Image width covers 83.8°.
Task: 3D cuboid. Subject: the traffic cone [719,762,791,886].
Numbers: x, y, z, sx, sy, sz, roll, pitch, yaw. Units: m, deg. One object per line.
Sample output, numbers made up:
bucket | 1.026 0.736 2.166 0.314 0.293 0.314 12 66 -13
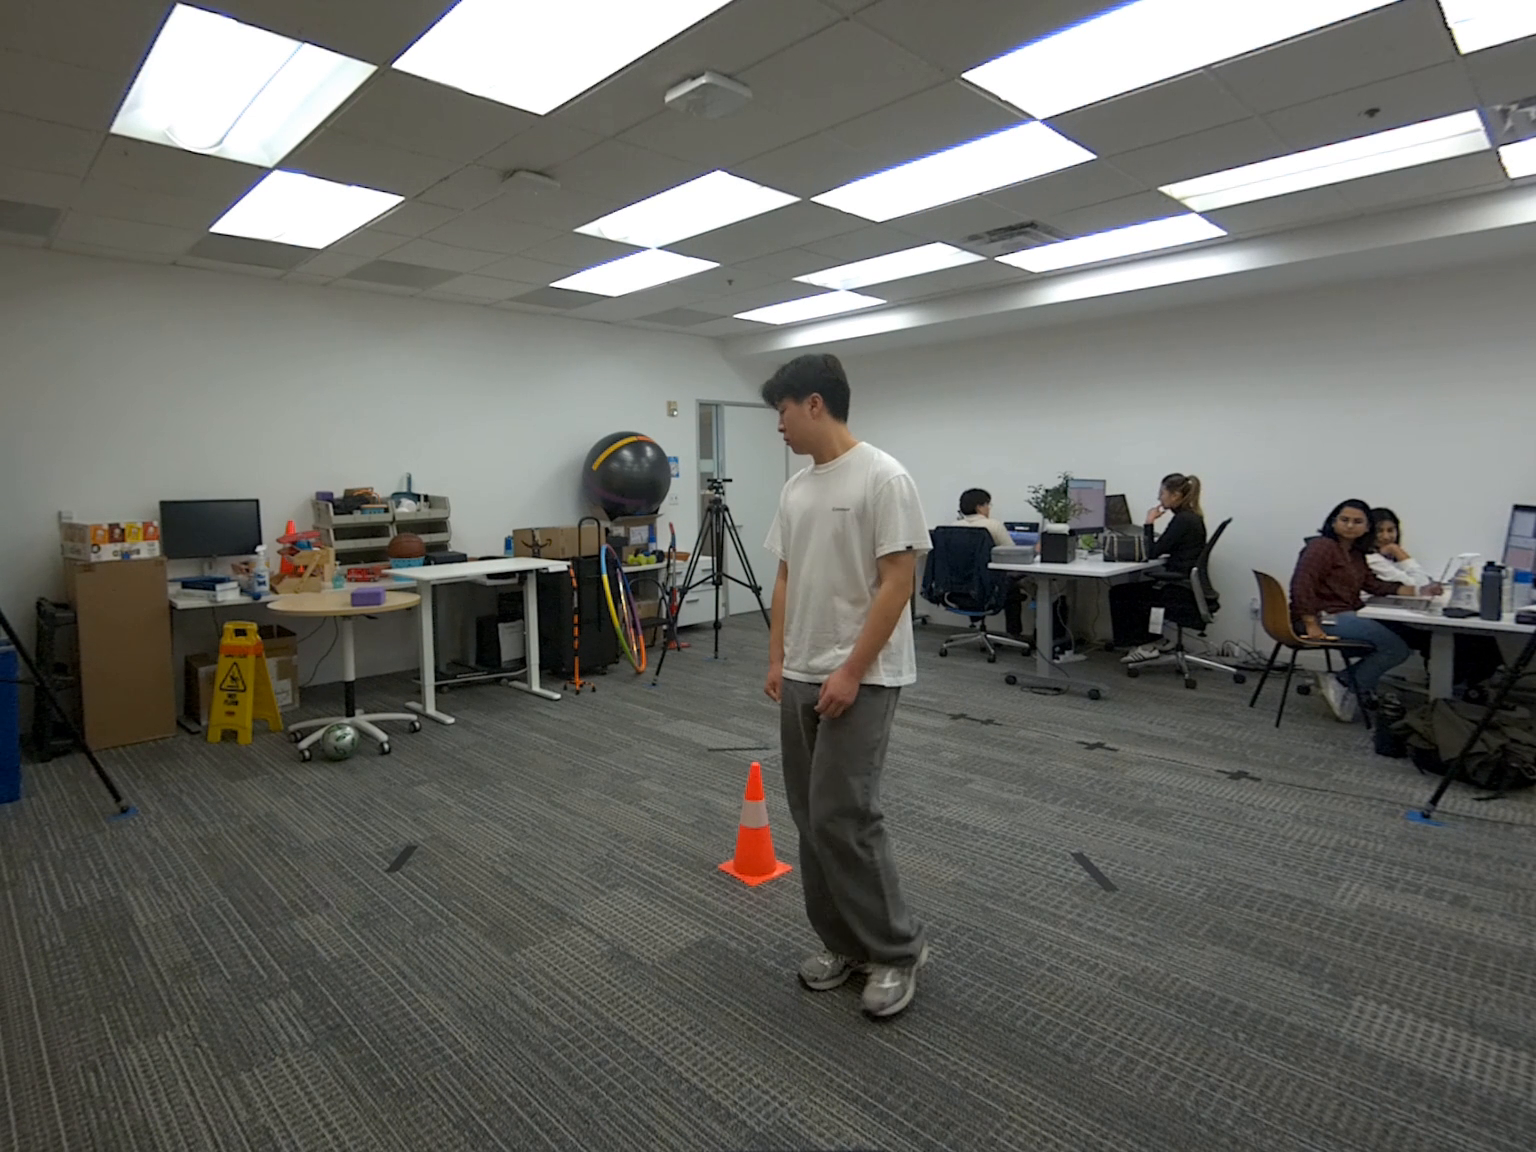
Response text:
traffic cone | -0.045 0.865 3.069 0.198 0.383 0.211 -2 3 -43
